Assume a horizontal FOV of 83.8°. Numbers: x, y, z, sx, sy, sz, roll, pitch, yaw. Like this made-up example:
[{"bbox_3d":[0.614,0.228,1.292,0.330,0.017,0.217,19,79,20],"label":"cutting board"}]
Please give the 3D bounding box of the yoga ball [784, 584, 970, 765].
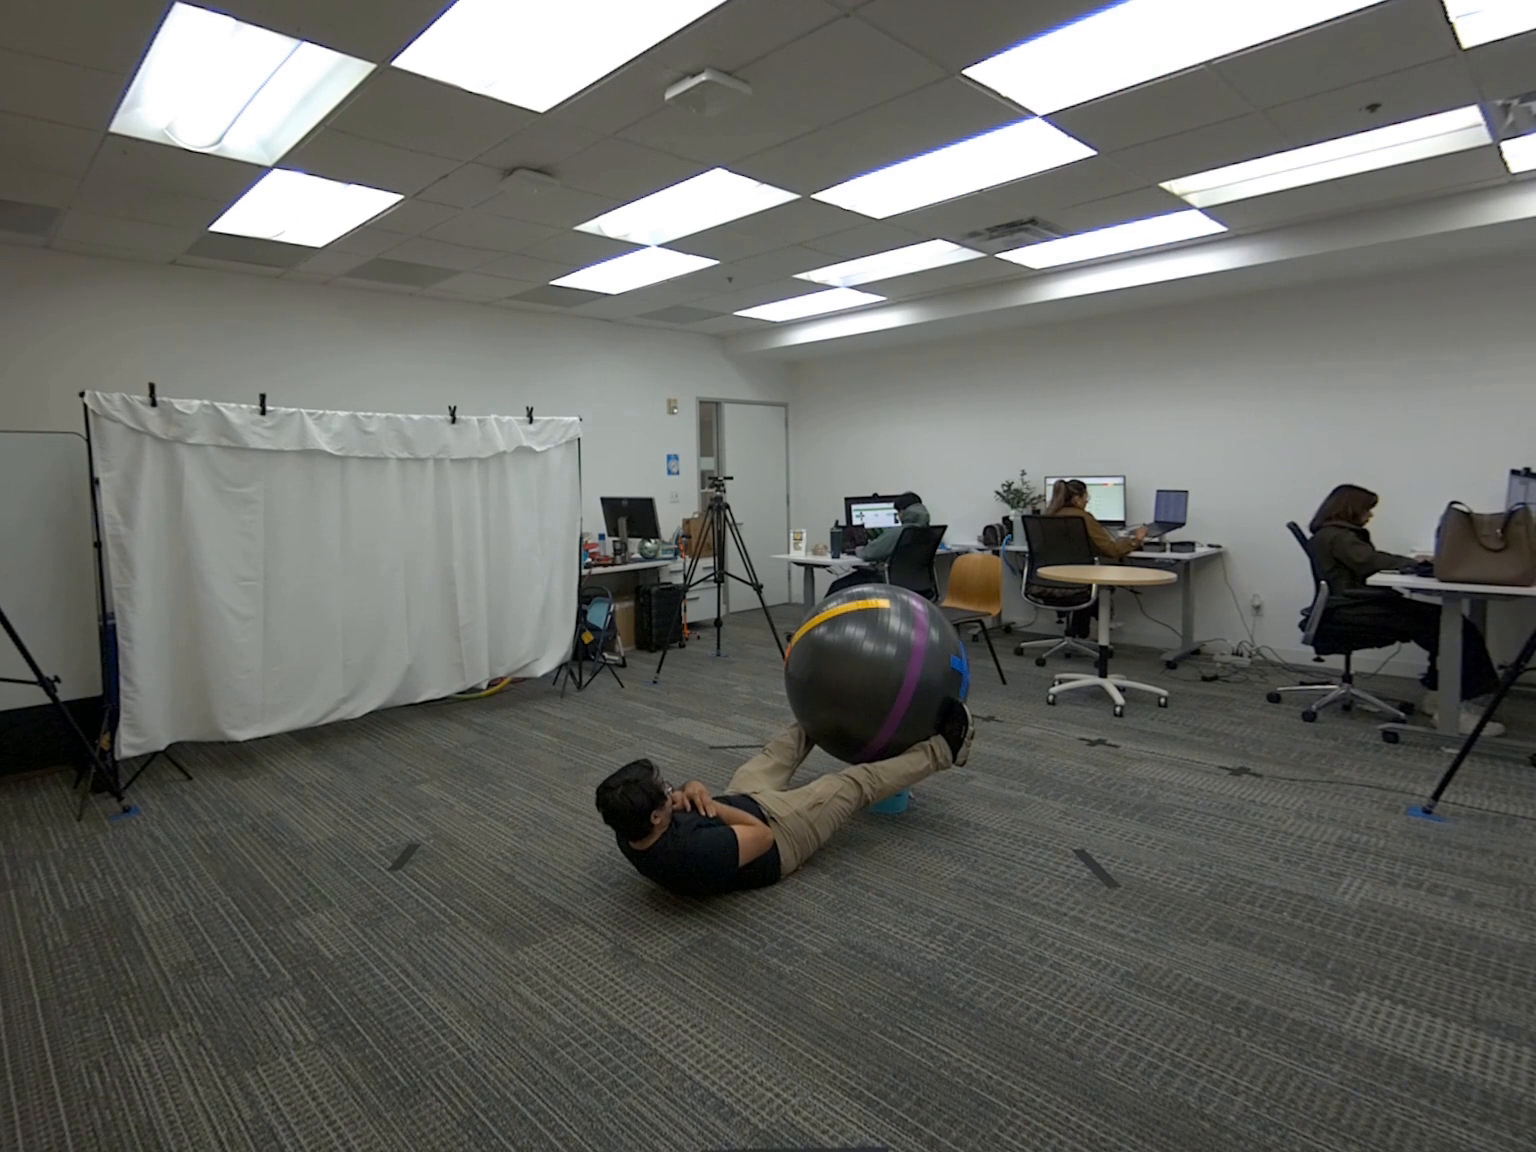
[{"bbox_3d":[0.453,0.419,3.570,0.757,0.755,0.762,-1,5,-2],"label":"yoga ball"}]
